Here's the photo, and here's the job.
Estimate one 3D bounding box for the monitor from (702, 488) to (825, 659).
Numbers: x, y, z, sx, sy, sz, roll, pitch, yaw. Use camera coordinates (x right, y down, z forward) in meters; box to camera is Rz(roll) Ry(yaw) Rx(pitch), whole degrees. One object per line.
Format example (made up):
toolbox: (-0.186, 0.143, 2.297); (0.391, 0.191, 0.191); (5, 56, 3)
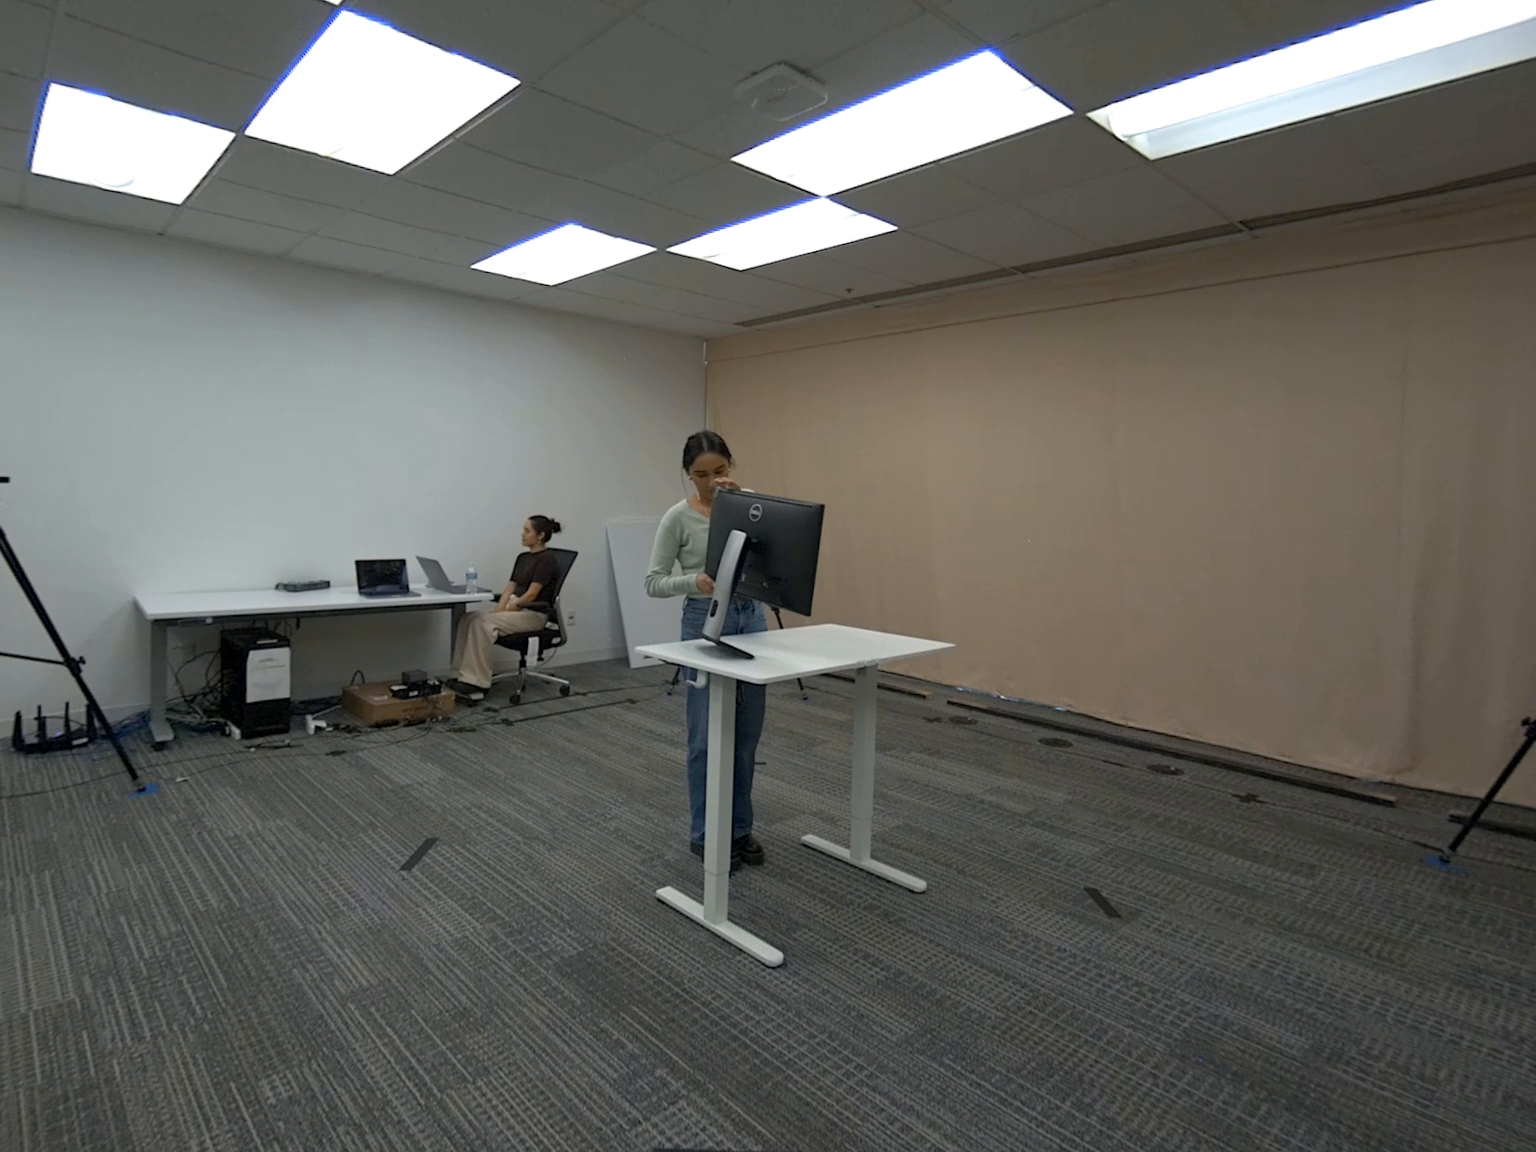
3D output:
monitor: (-0.091, -0.016, 2.759); (0.181, 0.523, 0.554); (21, -5, -42)
